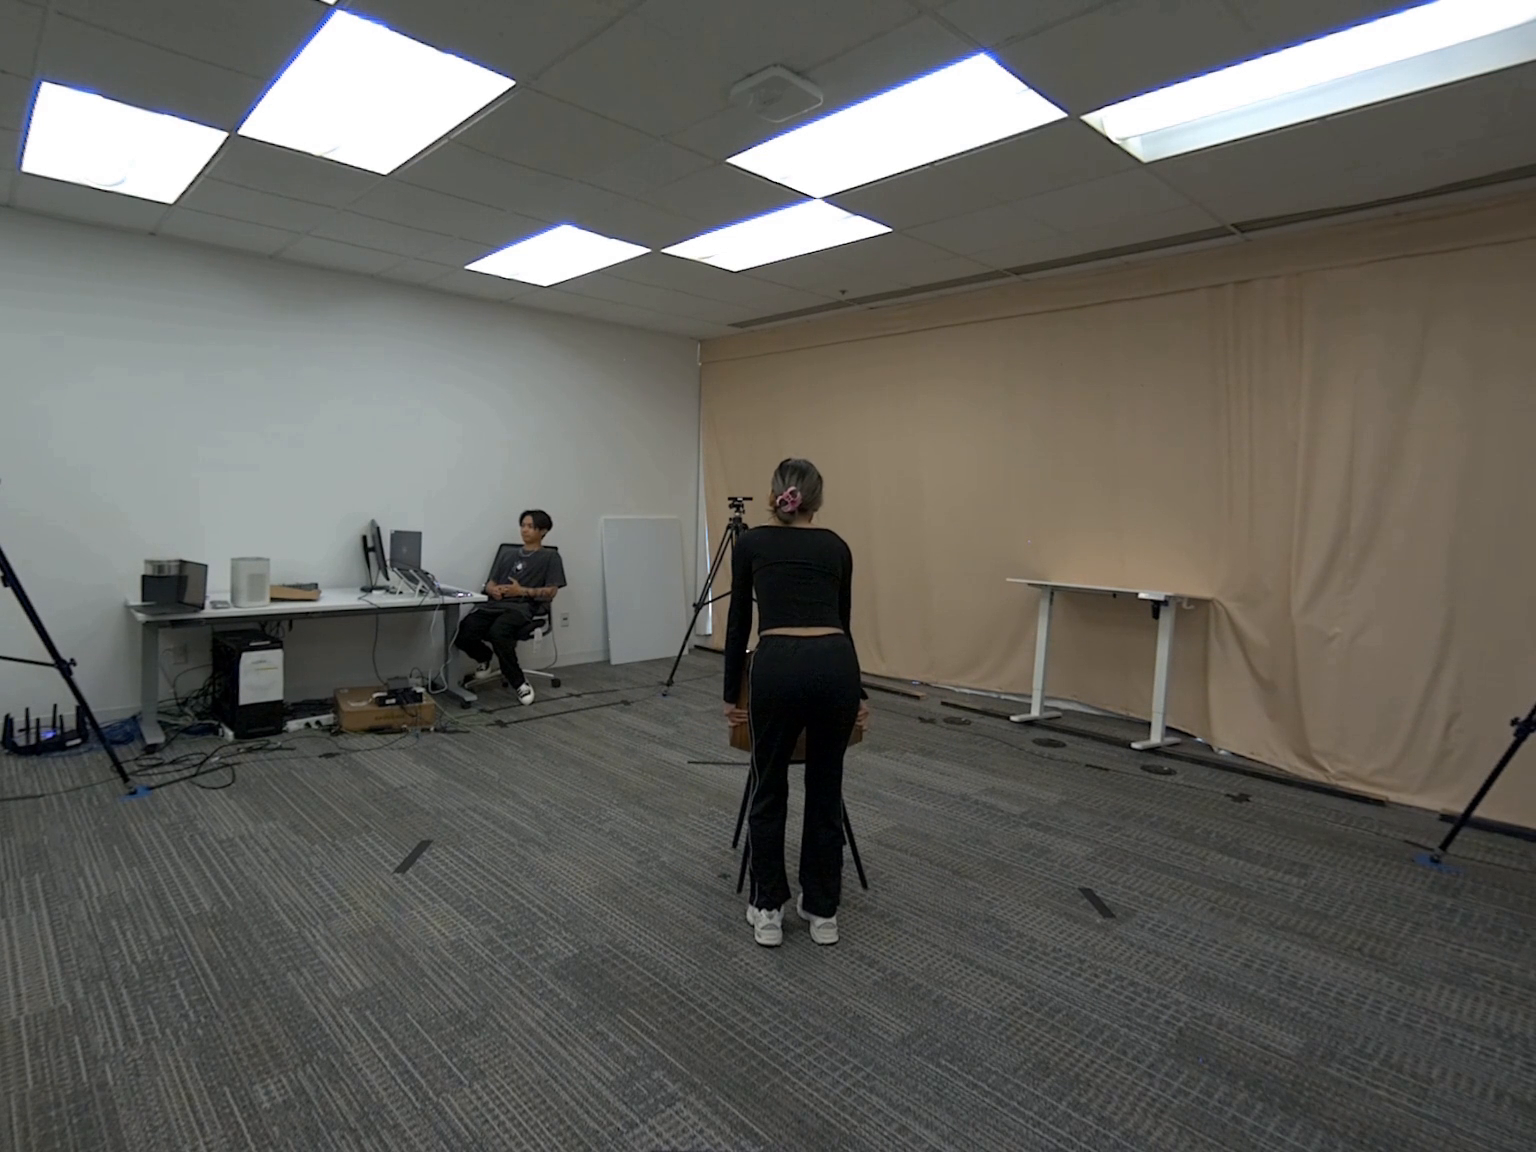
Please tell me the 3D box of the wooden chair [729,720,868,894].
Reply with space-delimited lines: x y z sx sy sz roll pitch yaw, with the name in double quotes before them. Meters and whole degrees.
"wooden chair" 0.086 0.642 3.098 0.477 0.874 0.526 -2 5 -4
